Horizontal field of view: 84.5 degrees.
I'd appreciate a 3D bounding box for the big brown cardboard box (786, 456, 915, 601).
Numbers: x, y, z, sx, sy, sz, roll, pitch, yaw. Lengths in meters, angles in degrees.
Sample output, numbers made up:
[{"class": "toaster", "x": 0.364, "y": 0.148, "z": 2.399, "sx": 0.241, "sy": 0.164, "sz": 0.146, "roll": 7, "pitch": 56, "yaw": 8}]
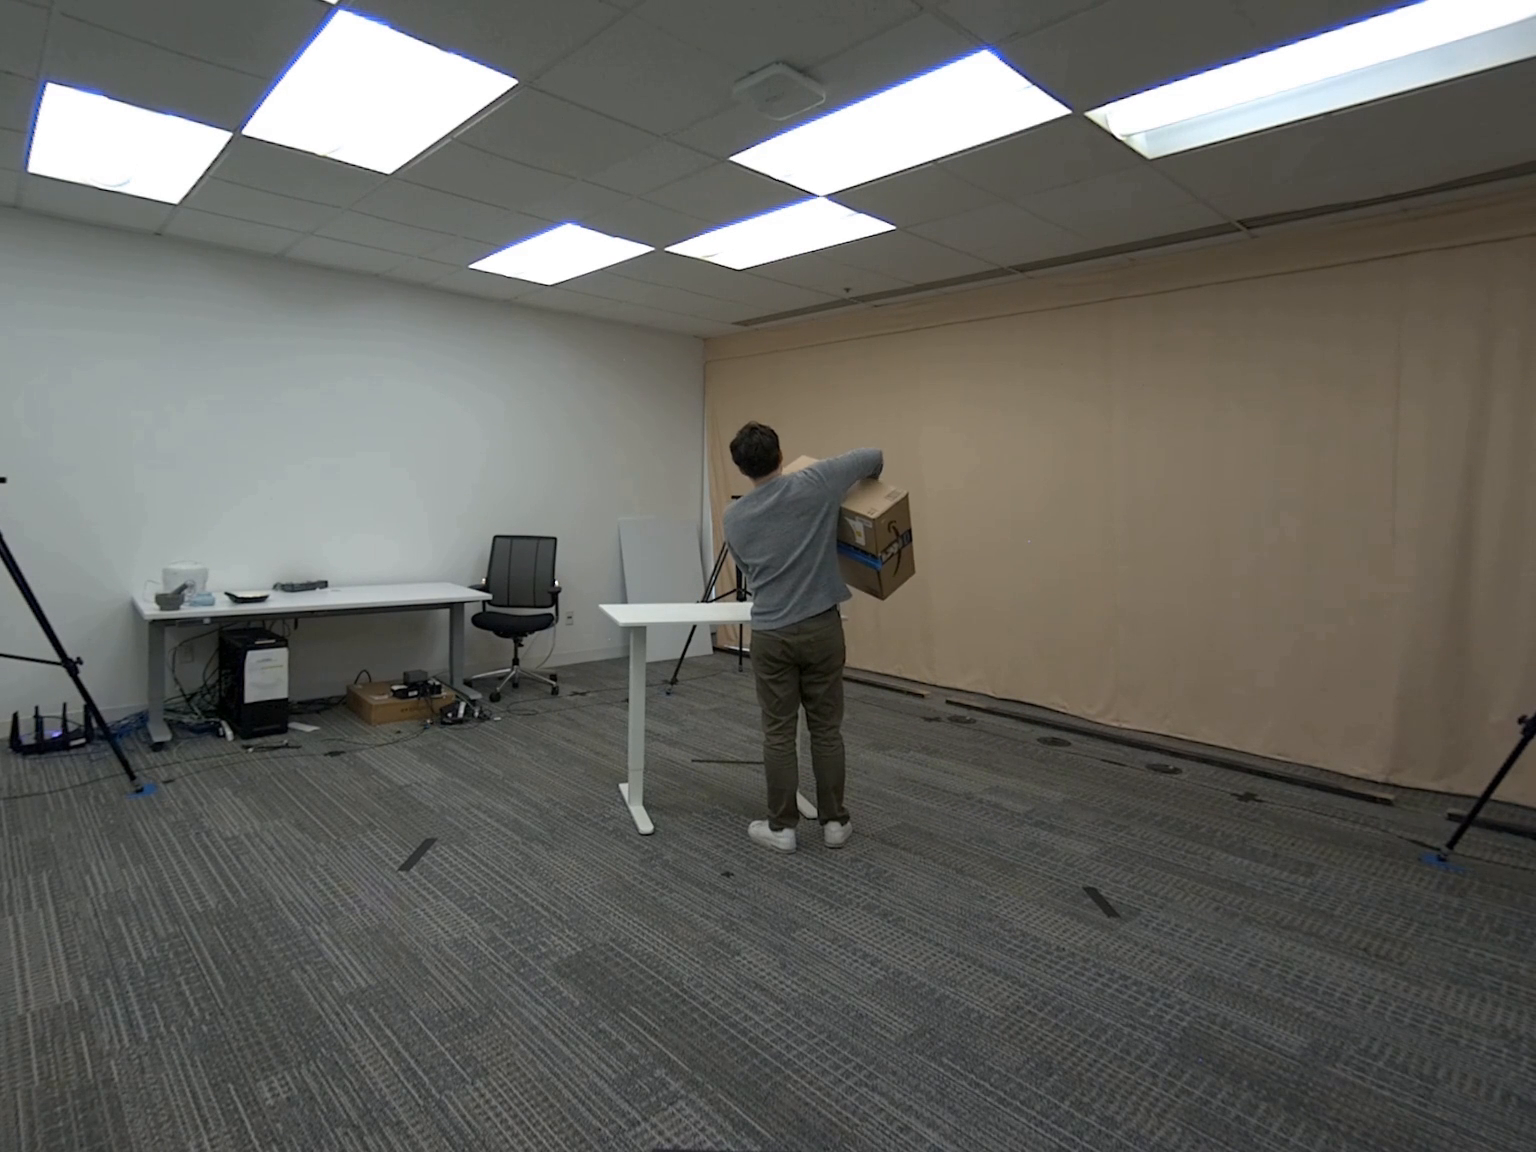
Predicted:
[{"class": "big brown cardboard box", "x": 0.303, "y": -0.203, "z": 3.508, "sx": 0.232, "sy": 0.407, "sz": 0.607, "roll": -34, "pitch": 41, "yaw": -27}]
